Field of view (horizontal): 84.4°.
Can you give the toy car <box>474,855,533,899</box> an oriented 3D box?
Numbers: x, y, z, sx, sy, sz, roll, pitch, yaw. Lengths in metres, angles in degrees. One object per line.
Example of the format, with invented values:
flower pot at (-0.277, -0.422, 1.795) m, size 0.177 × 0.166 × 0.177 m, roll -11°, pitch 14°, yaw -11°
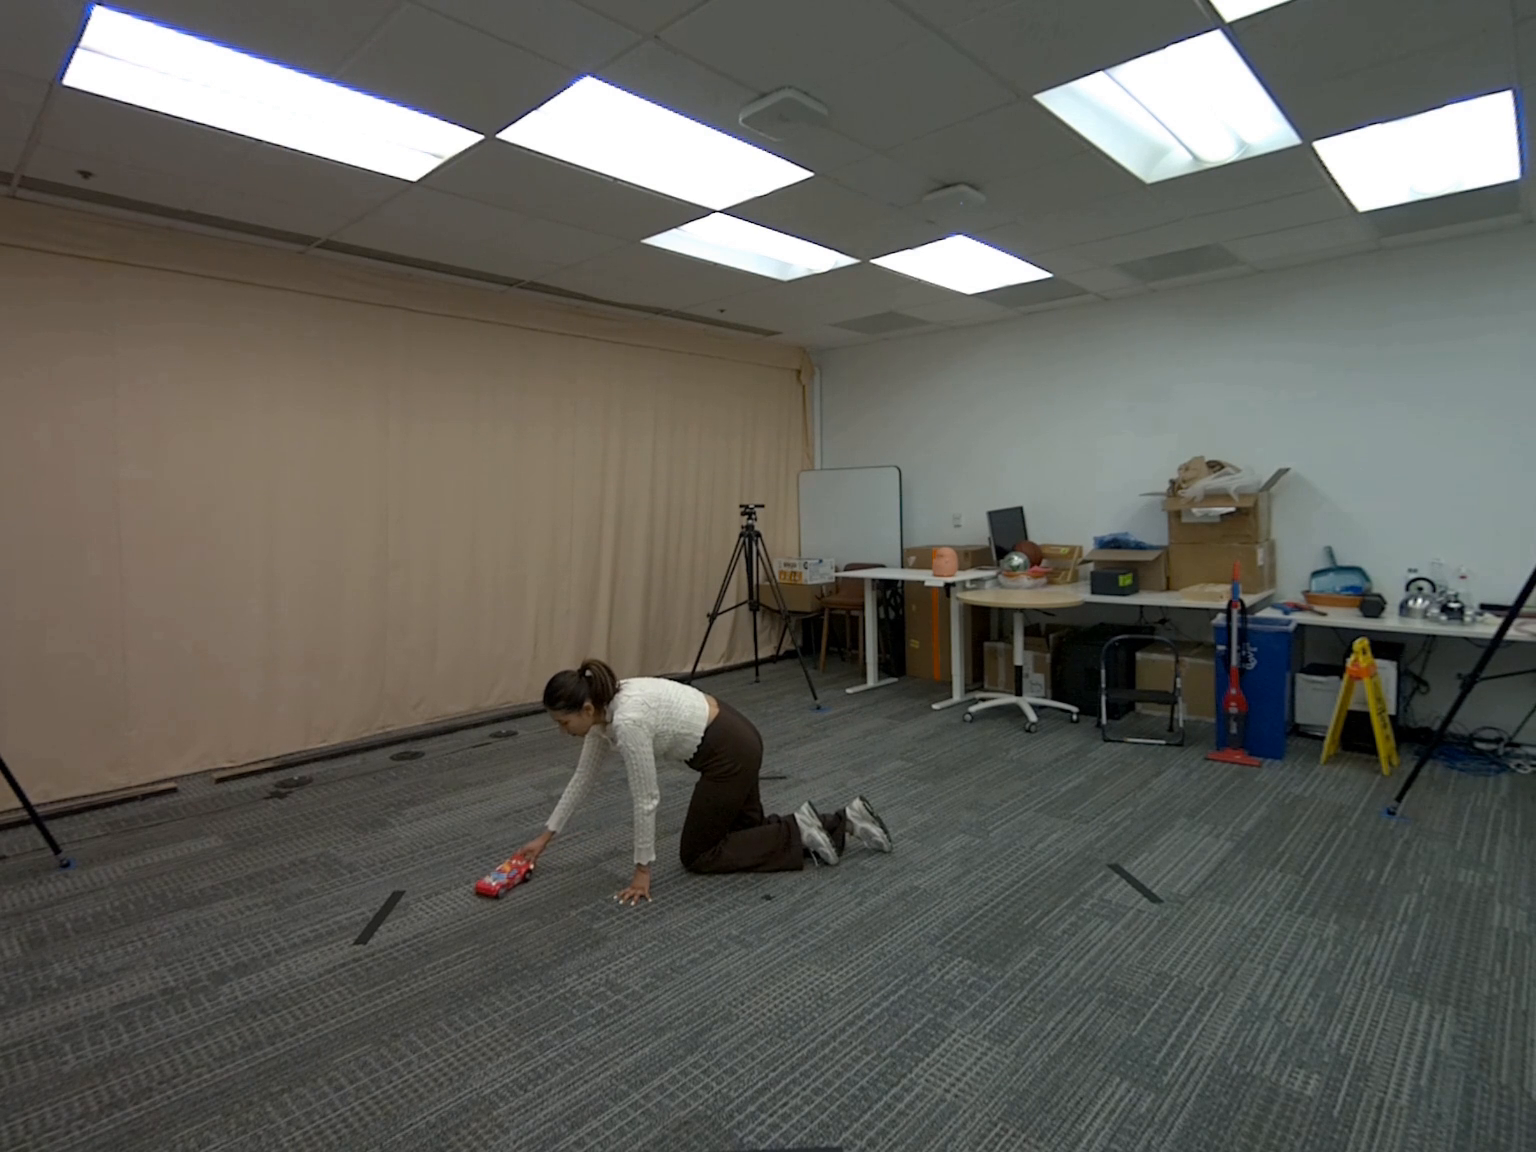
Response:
toy car at (-0.971, 1.127, 3.133) m, size 0.133 × 0.082 × 0.251 m, roll 1°, pitch 15°, yaw 24°
